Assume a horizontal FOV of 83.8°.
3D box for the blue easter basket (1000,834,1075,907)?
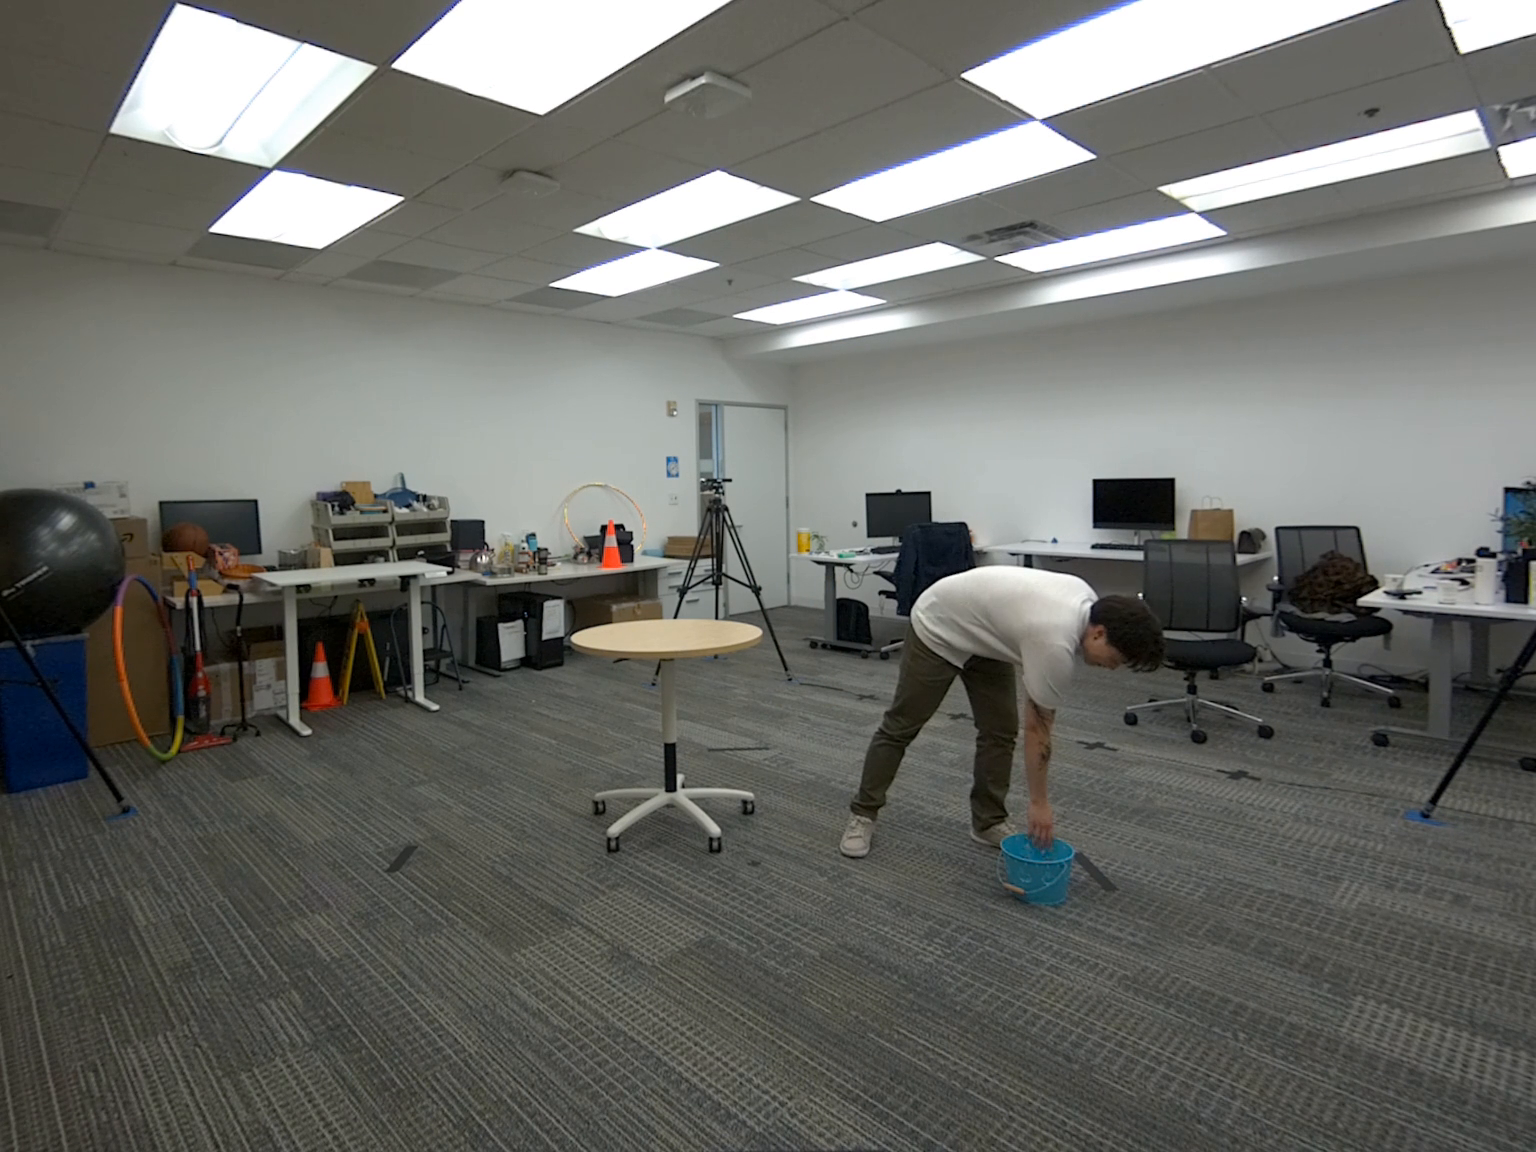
[{"bbox_3d":[0.899,0.979,2.856,0.243,0.155,0.245,-2,6,-1],"label":"blue easter basket"}]
